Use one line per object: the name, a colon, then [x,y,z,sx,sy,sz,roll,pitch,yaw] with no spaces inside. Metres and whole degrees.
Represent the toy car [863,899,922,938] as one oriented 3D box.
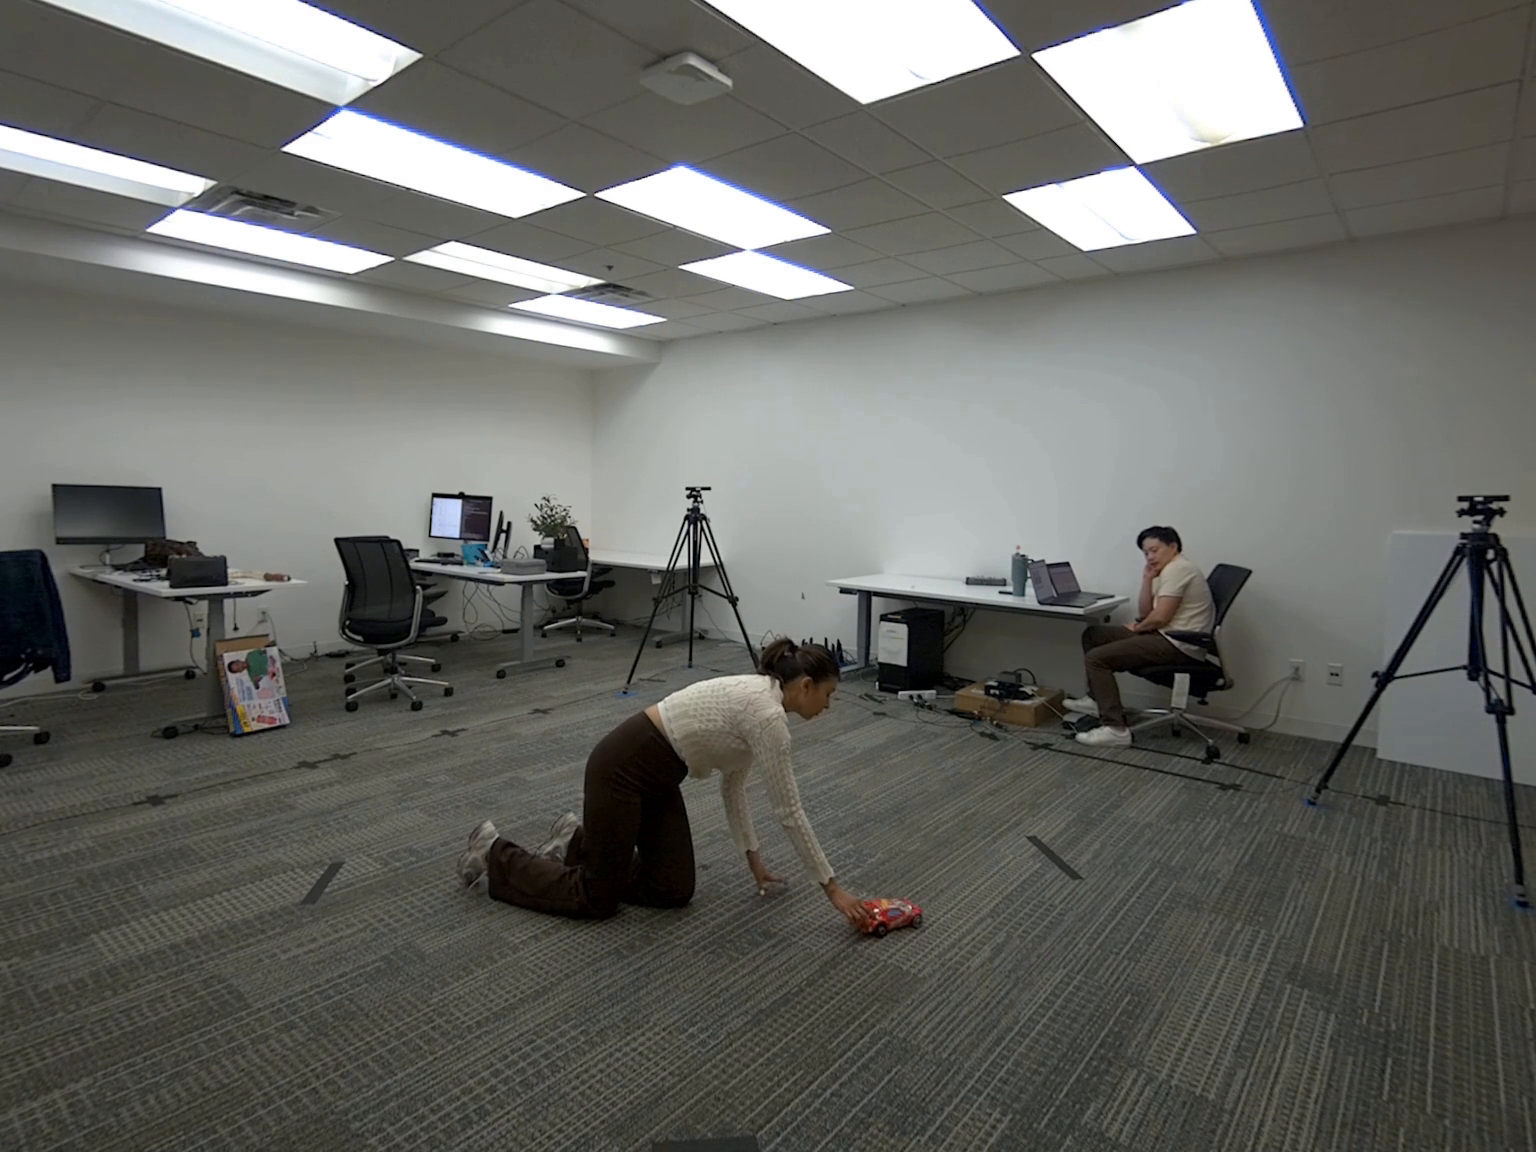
toy car: [0.365,1.091,2.715,0.247,0.083,0.134,10,0,-28]
